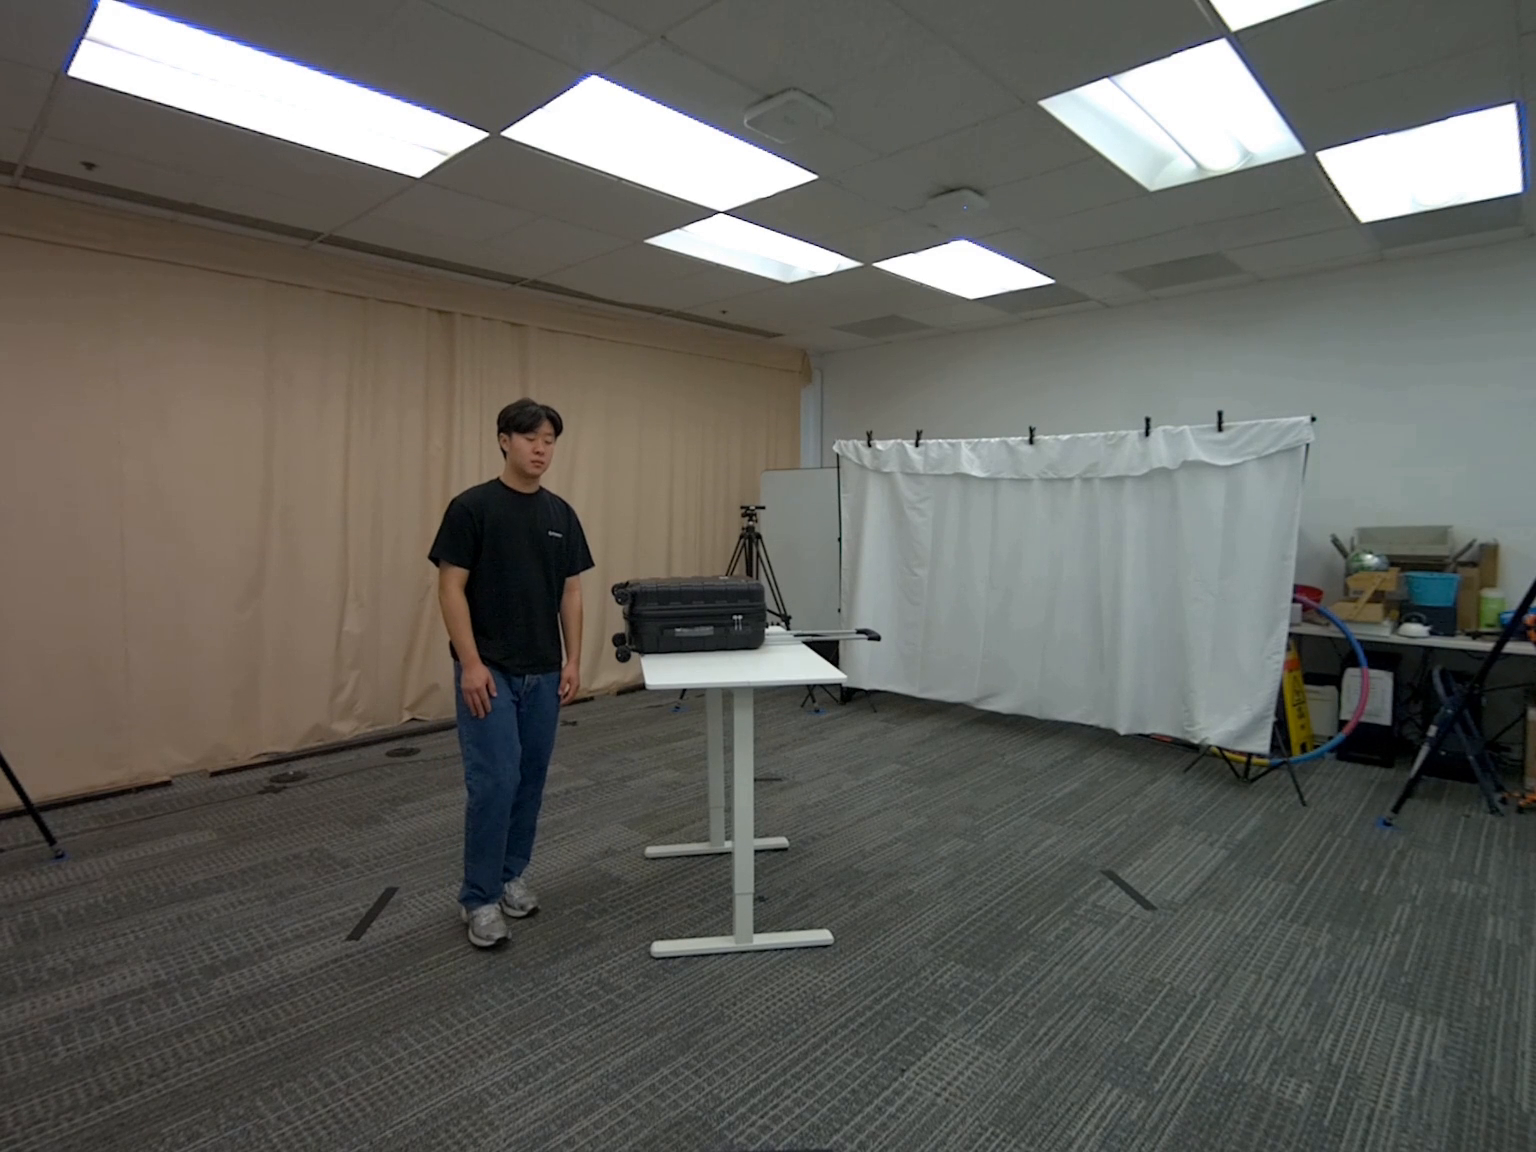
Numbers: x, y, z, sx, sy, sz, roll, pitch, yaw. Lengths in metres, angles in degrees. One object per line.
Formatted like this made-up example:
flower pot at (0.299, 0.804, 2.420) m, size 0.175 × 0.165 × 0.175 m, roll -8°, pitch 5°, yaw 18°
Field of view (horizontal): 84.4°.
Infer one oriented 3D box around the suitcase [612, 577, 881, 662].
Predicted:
suitcase at (-0.083, 0.123, 3.107) m, size 0.969 × 0.256 × 0.389 m, roll -4°, pitch 4°, yaw -10°
